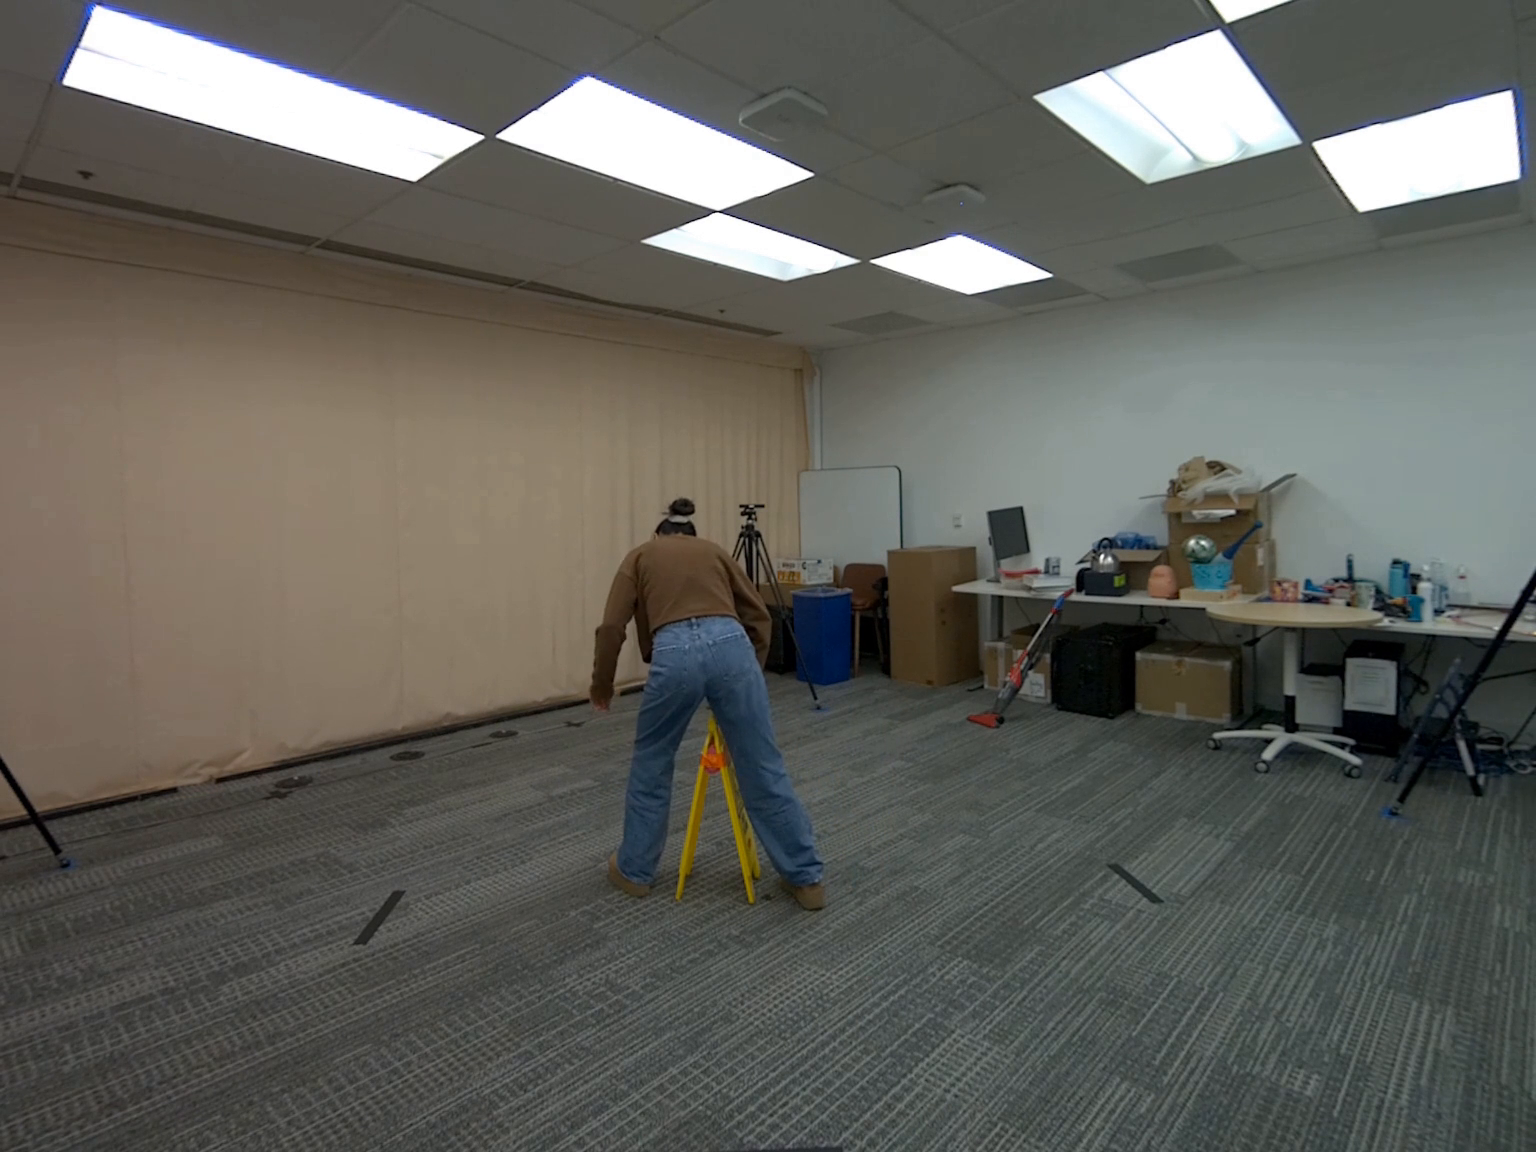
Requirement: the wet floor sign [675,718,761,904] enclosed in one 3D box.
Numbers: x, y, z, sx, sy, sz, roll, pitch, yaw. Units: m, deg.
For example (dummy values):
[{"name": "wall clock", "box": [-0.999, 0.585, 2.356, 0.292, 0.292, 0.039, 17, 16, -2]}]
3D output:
[{"name": "wet floor sign", "box": [-0.186, 0.817, 3.070, 0.292, 0.646, 0.280, -1, 1, 6]}]
